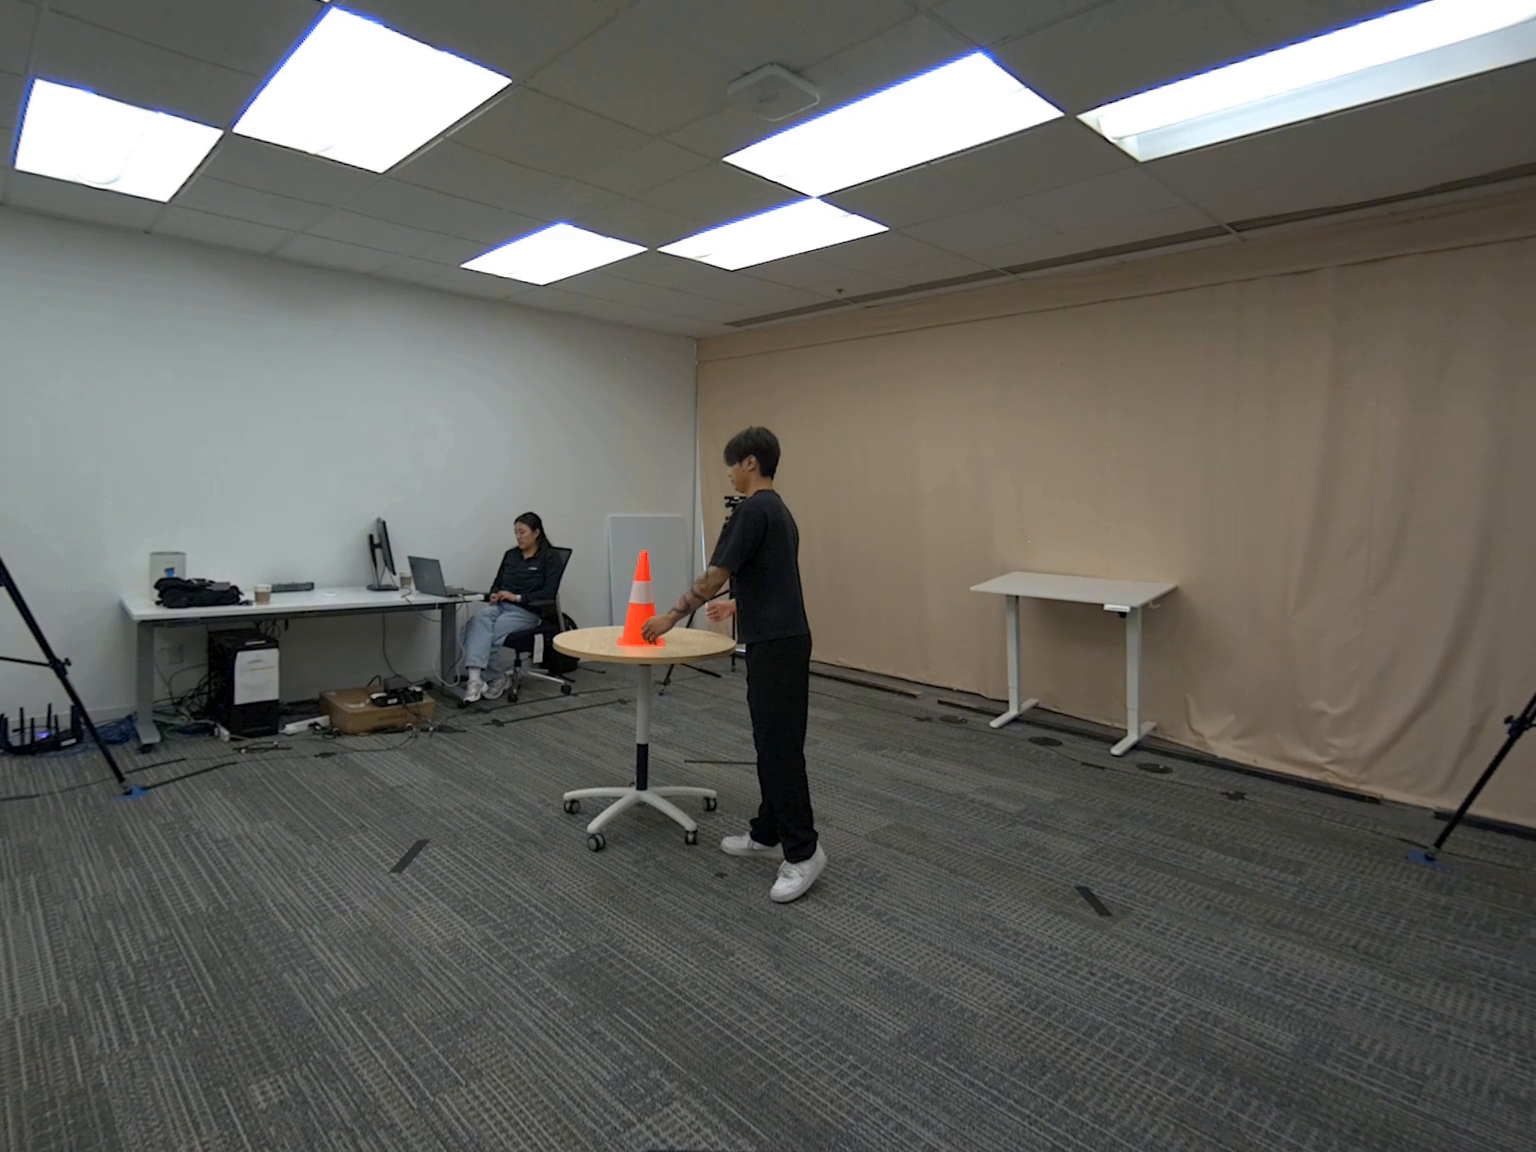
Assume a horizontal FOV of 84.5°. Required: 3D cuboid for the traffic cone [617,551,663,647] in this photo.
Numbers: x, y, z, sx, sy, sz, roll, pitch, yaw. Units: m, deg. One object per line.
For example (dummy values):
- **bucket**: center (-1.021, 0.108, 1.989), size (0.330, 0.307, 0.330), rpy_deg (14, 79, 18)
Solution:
- **traffic cone**: center (-0.532, 0.092, 3.500), size (0.204, 0.383, 0.205), rpy_deg (2, 3, -8)
